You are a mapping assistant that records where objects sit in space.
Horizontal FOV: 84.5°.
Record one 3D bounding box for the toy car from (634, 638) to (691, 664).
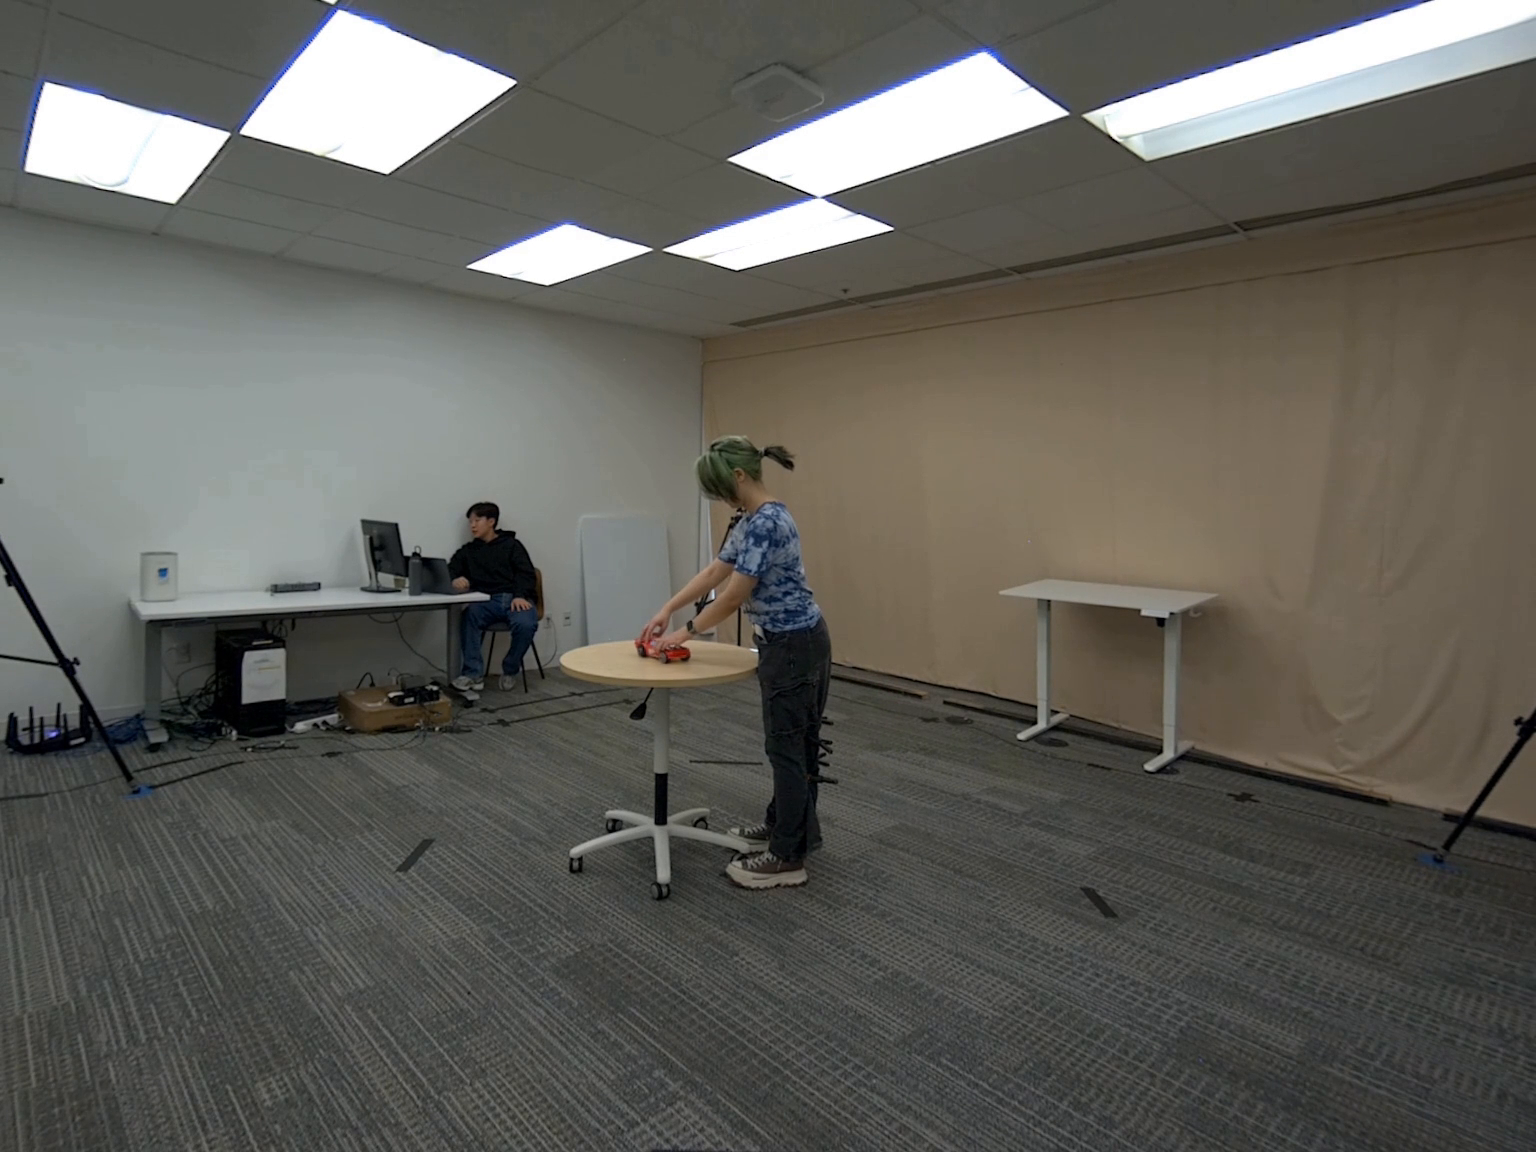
[{"bbox_3d":[-0.408,0.278,3.172,0.127,0.082,0.262,-3,17,-39],"label":"toy car"}]
